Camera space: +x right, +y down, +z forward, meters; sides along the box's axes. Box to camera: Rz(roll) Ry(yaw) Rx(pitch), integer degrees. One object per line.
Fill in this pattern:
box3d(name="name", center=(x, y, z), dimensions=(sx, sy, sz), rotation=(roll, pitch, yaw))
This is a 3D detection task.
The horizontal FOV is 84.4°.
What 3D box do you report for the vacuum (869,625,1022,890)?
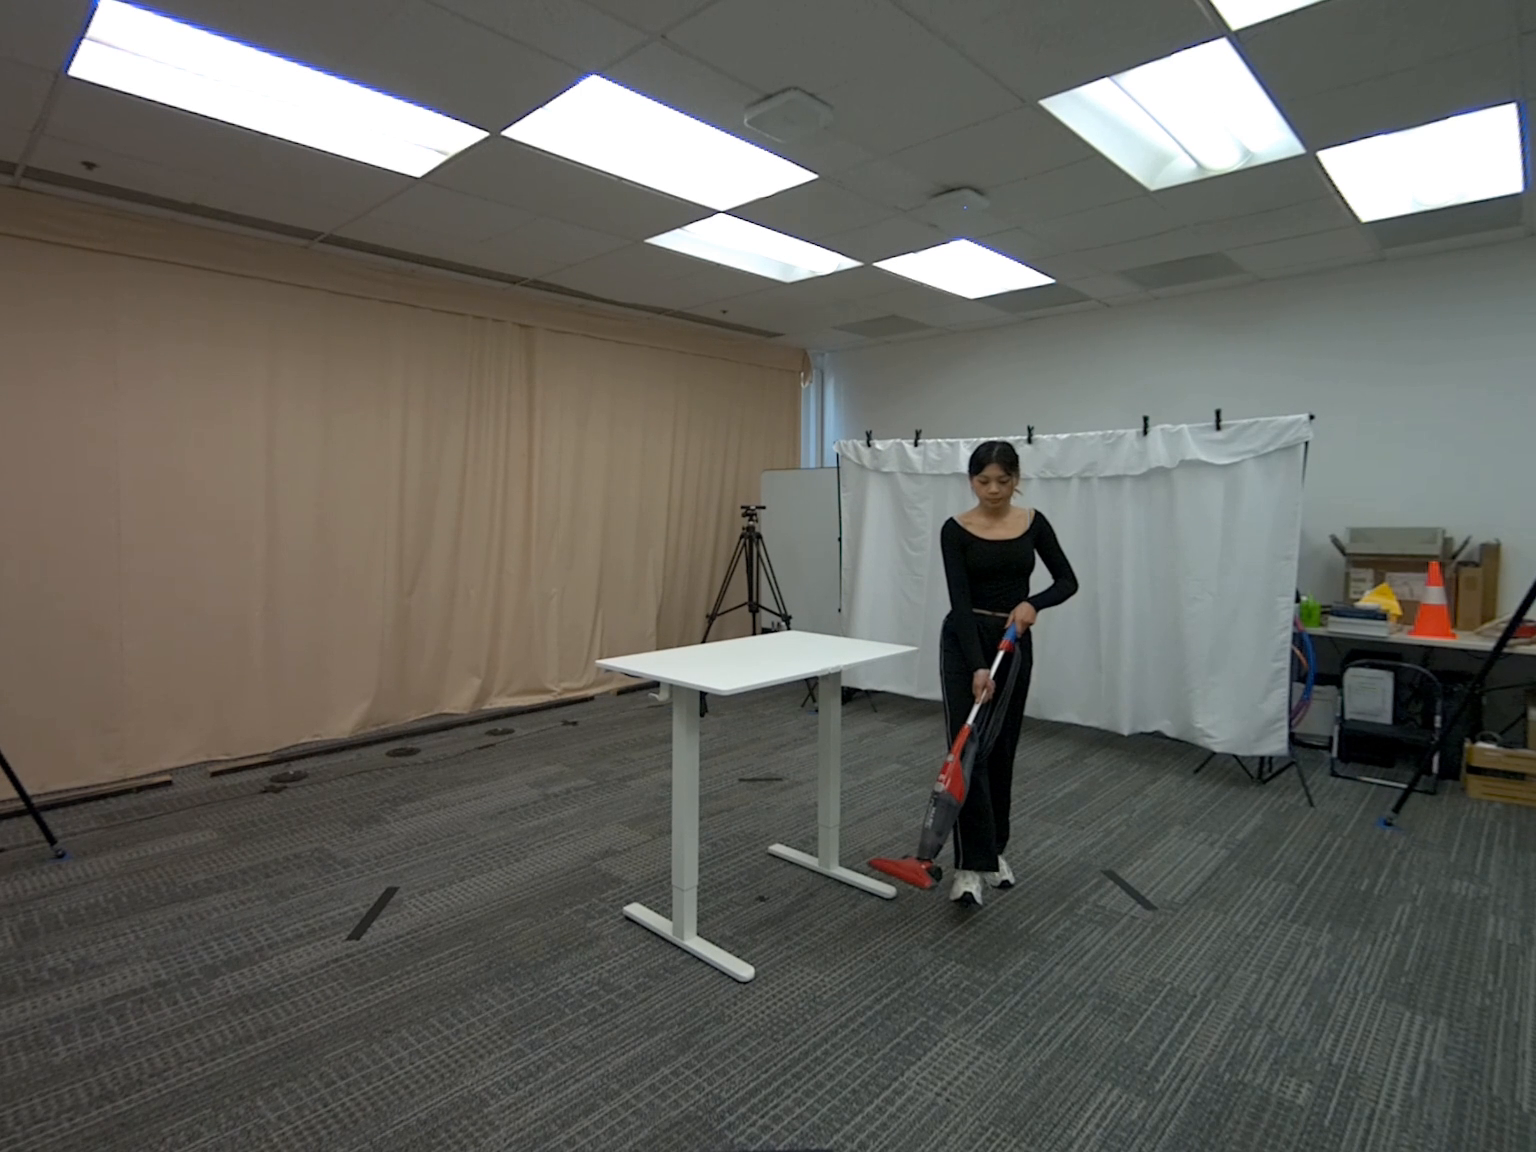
box3d(name="vacuum", center=(0.695, 0.536, 2.839), dimensions=(0.261, 1.050, 0.139), rotation=(8, -28, 45))
